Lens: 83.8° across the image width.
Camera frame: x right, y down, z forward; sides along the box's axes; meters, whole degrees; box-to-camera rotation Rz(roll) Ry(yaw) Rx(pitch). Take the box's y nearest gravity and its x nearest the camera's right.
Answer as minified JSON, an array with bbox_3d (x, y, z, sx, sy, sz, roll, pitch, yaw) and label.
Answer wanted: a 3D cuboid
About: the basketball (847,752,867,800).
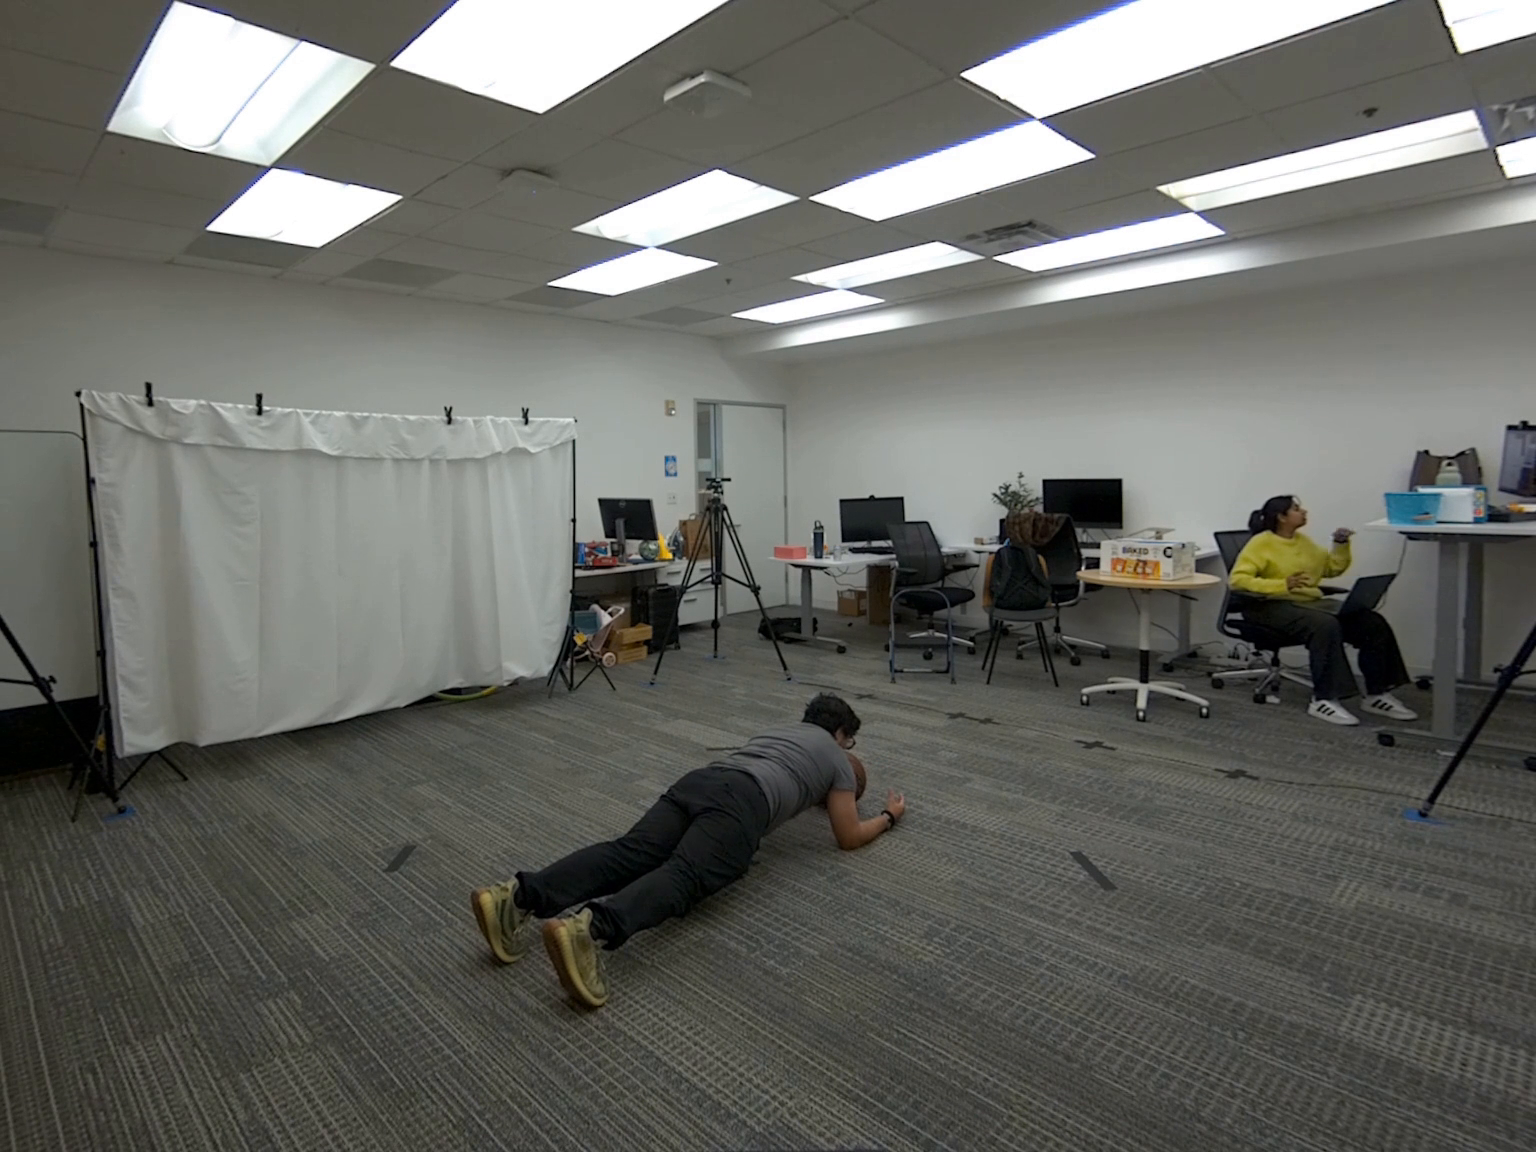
[{"bbox_3d":[0.306,0.861,3.623,0.236,0.235,0.237,-1,5,-2],"label":"basketball"}]
